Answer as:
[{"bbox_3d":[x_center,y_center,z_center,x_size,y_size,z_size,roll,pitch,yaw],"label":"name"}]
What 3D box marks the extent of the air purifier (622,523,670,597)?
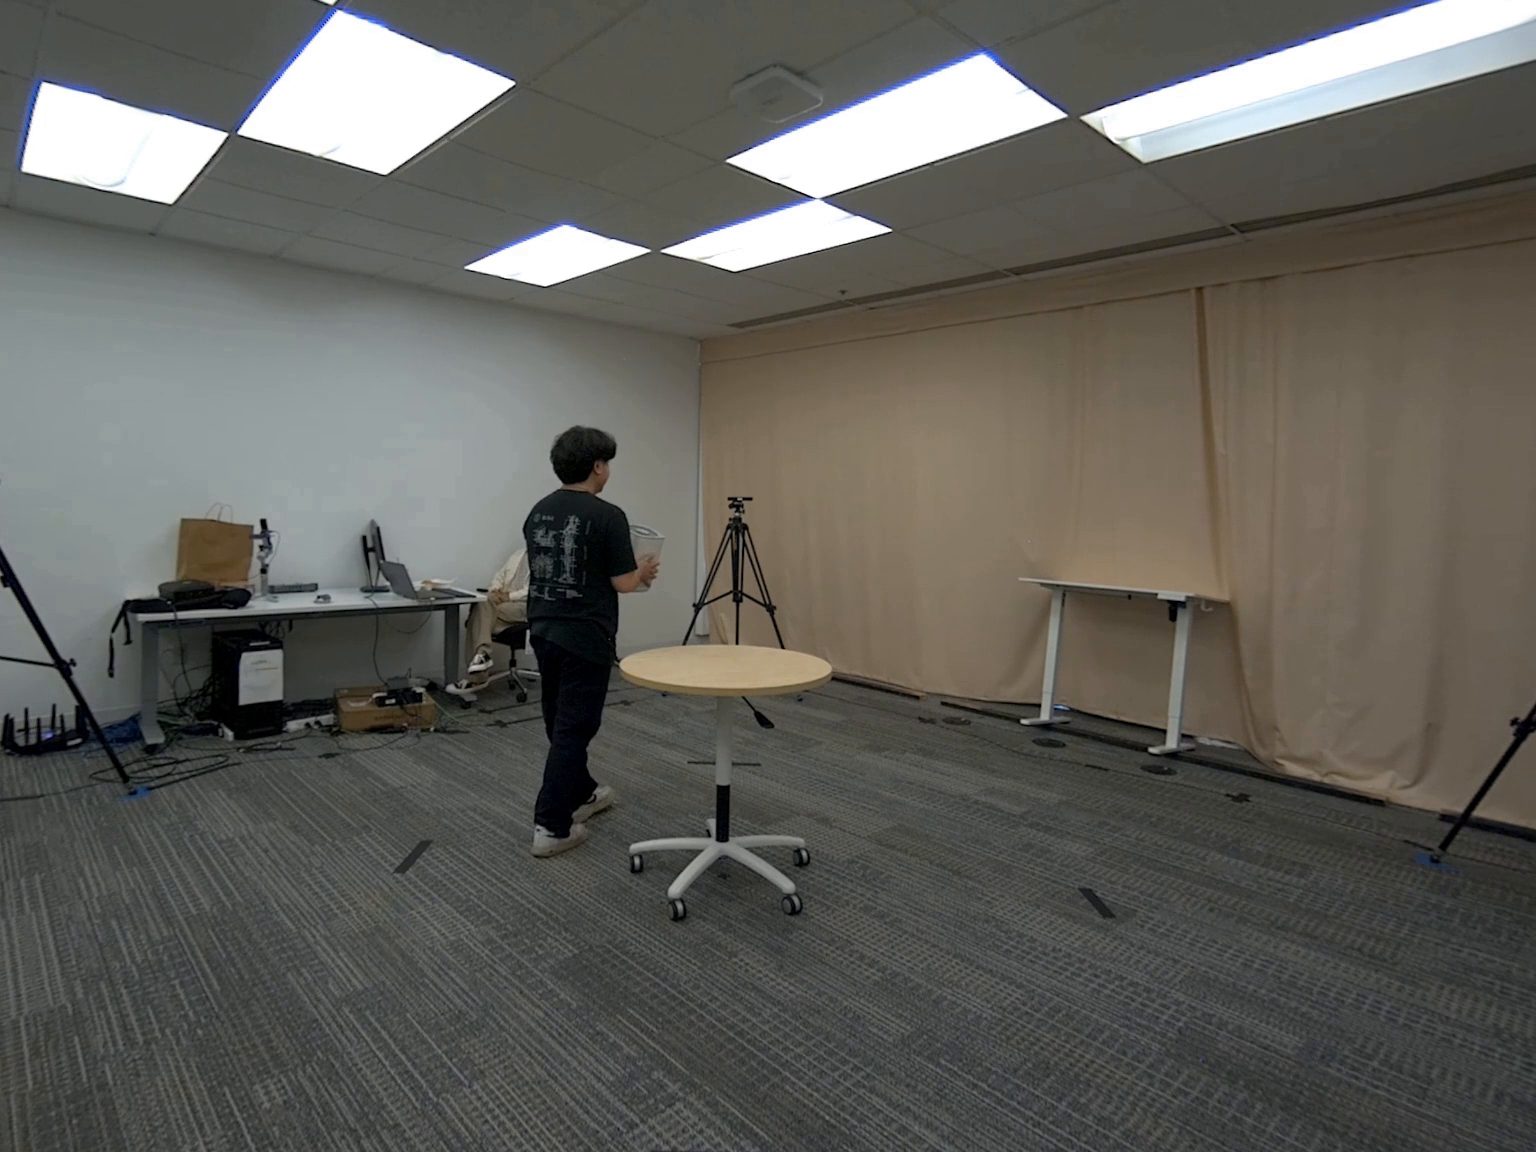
[{"bbox_3d":[-0.580,-0.073,3.672,0.176,0.263,0.168,28,18,35],"label":"air purifier"}]
